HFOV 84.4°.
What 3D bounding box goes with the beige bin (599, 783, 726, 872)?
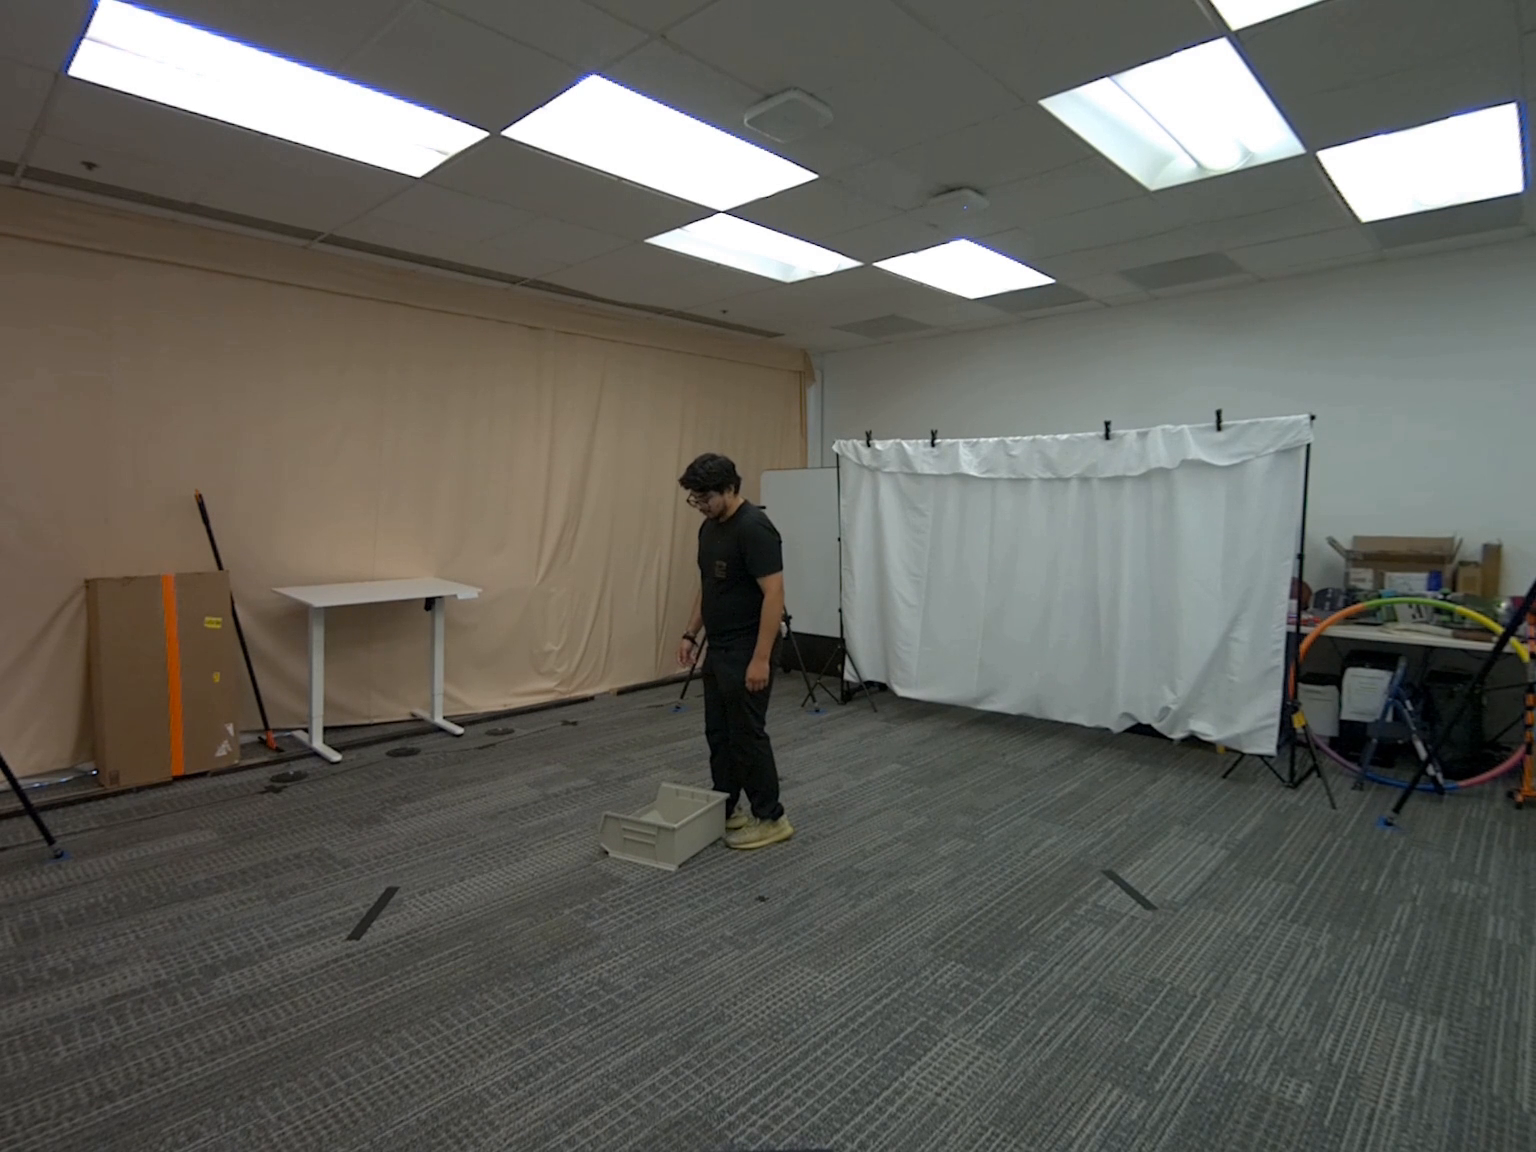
[{"bbox_3d":[-0.428,1.015,3.467,0.388,0.188,0.412,3,5,28],"label":"beige bin"}]
